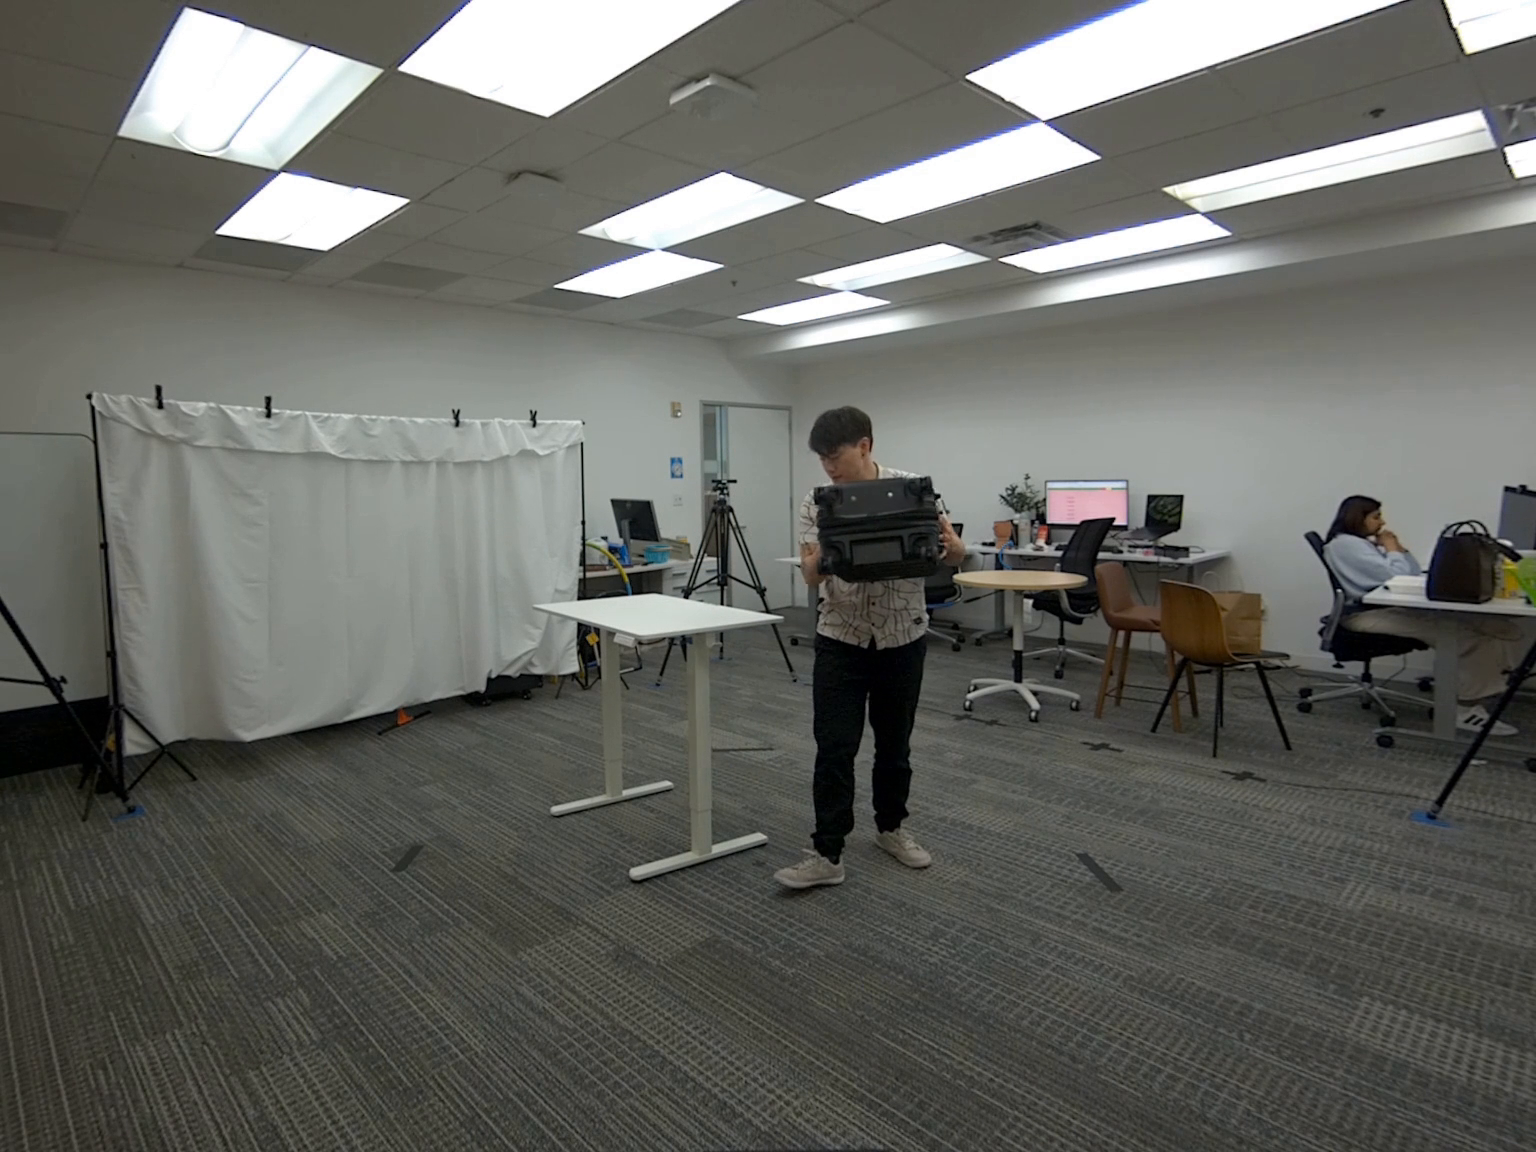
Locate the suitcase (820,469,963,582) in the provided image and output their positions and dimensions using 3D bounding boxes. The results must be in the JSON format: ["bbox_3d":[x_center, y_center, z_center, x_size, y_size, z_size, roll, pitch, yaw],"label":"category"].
[{"bbox_3d":[0.393,-0.131,2.667,0.380,0.250,0.538,-5,-8,12],"label":"suitcase"}]
